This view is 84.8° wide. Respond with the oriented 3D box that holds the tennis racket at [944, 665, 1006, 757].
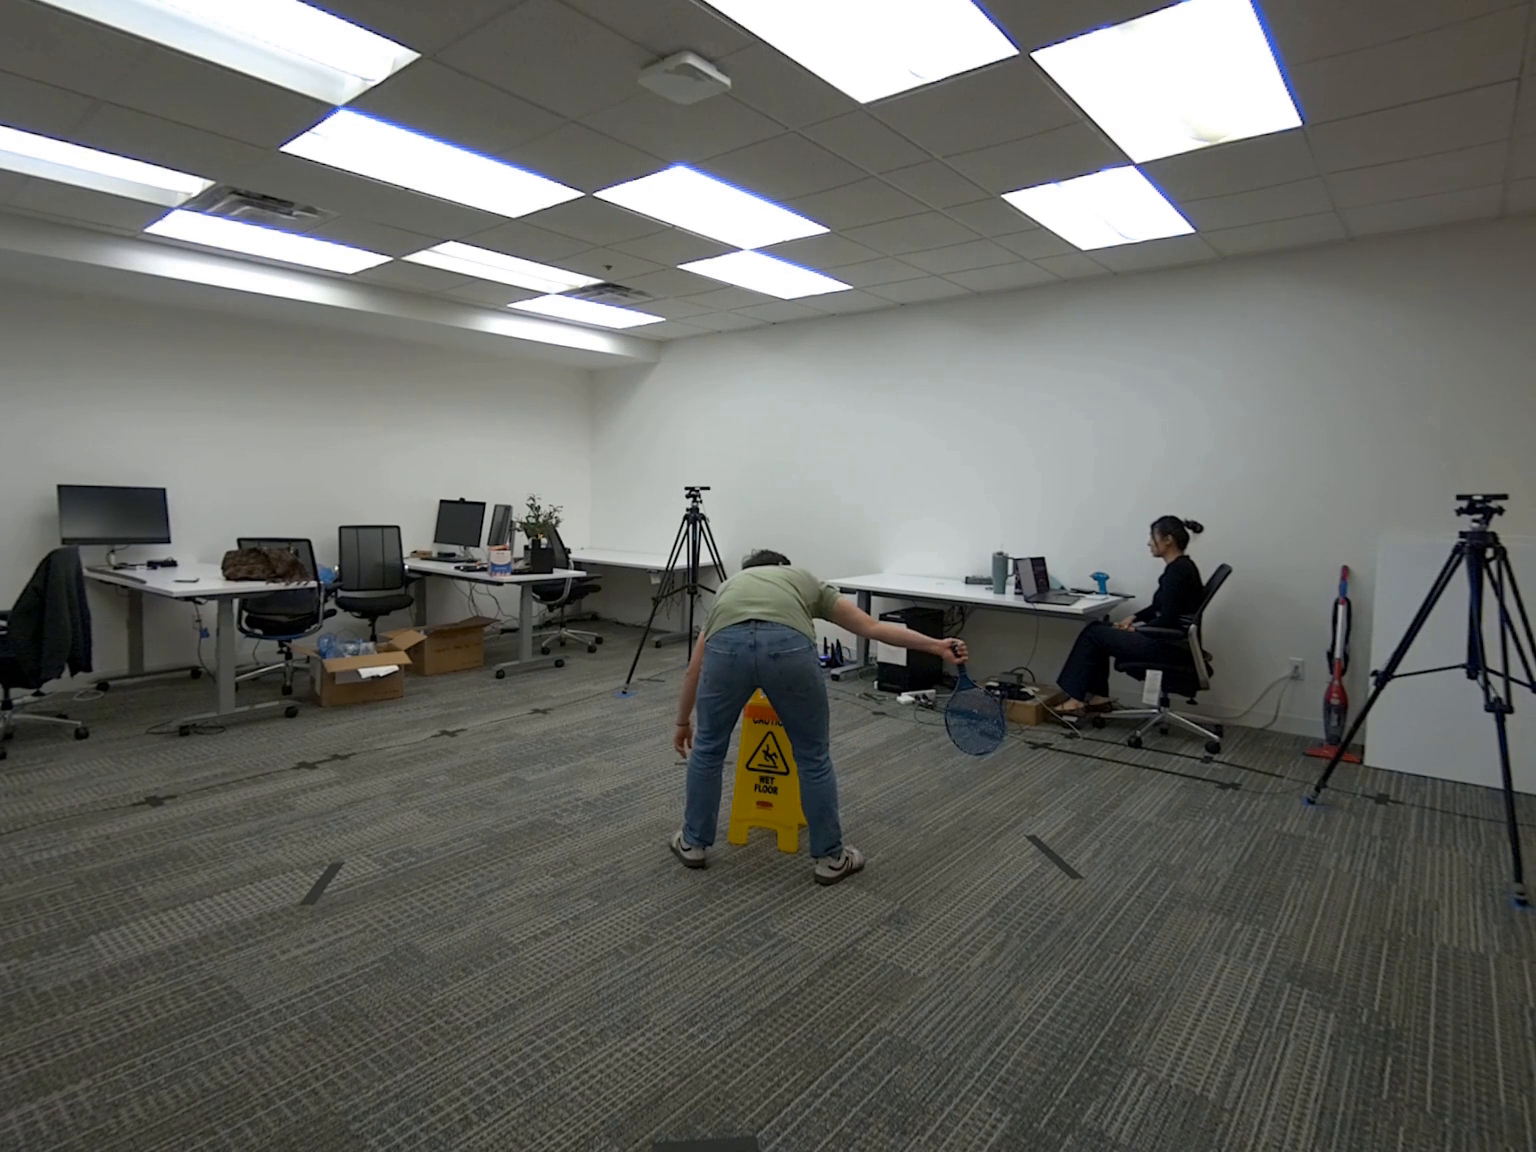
[{"bbox_3d":[0.733,0.479,3.162,0.214,0.432,0.031,-14,1,5],"label":"tennis racket"}]
